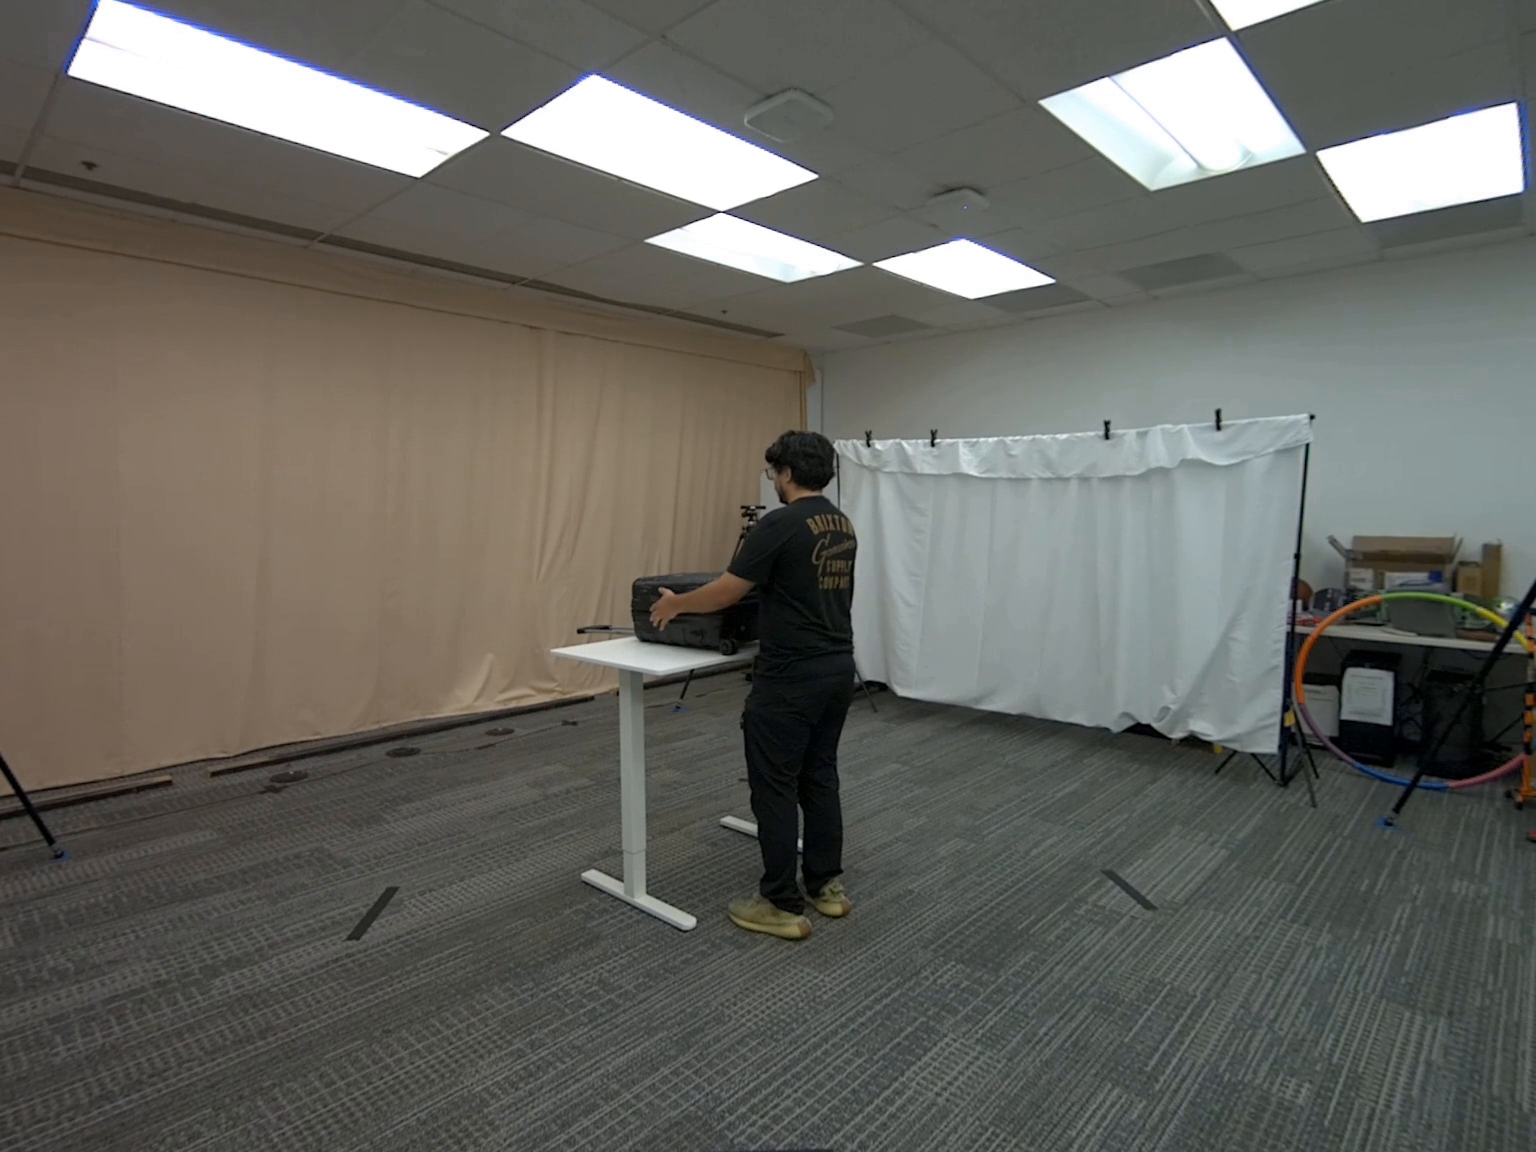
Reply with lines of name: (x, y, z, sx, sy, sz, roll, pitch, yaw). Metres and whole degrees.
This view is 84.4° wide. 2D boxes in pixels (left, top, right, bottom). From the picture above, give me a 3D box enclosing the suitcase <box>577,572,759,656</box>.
suitcase: (-0.385, 0.121, 3.297, 1.011, 0.256, 0.372, 2, 6, 44)
